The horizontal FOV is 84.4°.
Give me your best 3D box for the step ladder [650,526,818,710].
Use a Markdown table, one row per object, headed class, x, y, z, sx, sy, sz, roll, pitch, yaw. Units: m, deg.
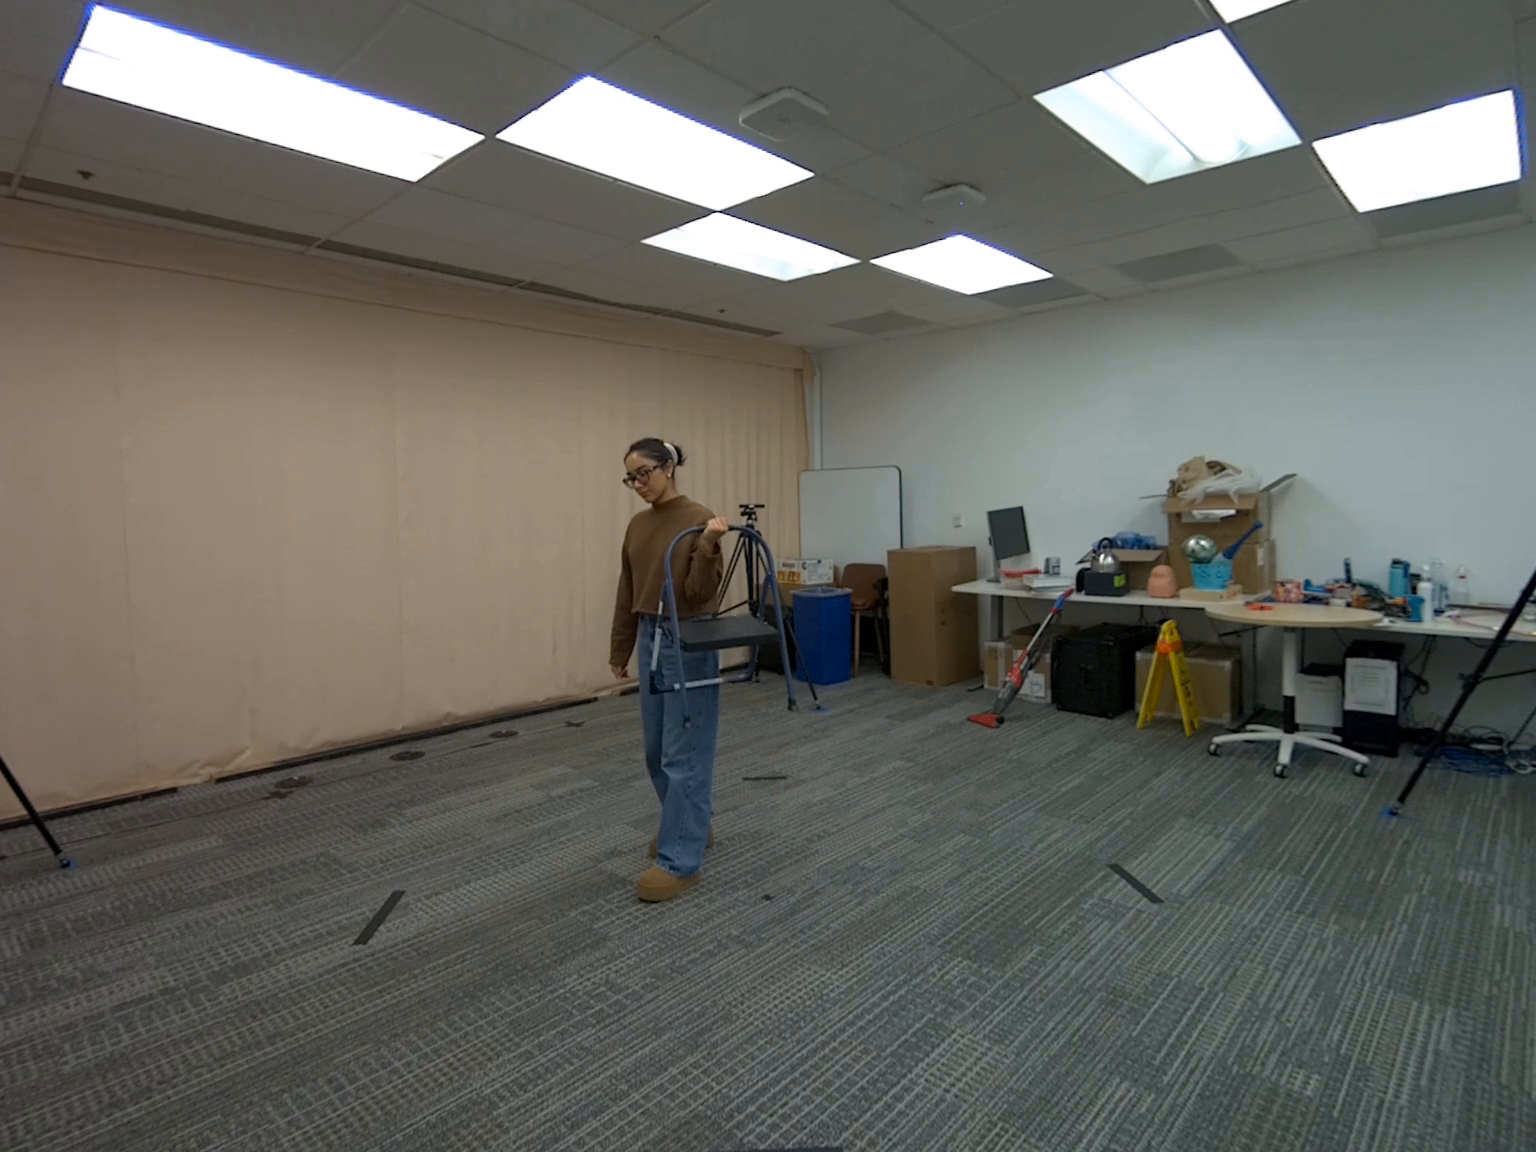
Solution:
| class | x | y | z | sx | sy | sz | roll | pitch | yaw |
| --- | --- | --- | --- | --- | --- | --- | --- | --- | --- |
| step ladder | -0.147 | 0.144 | 2.868 | 0.420 | 0.602 | 0.360 | -4 | 12 | -27 |
